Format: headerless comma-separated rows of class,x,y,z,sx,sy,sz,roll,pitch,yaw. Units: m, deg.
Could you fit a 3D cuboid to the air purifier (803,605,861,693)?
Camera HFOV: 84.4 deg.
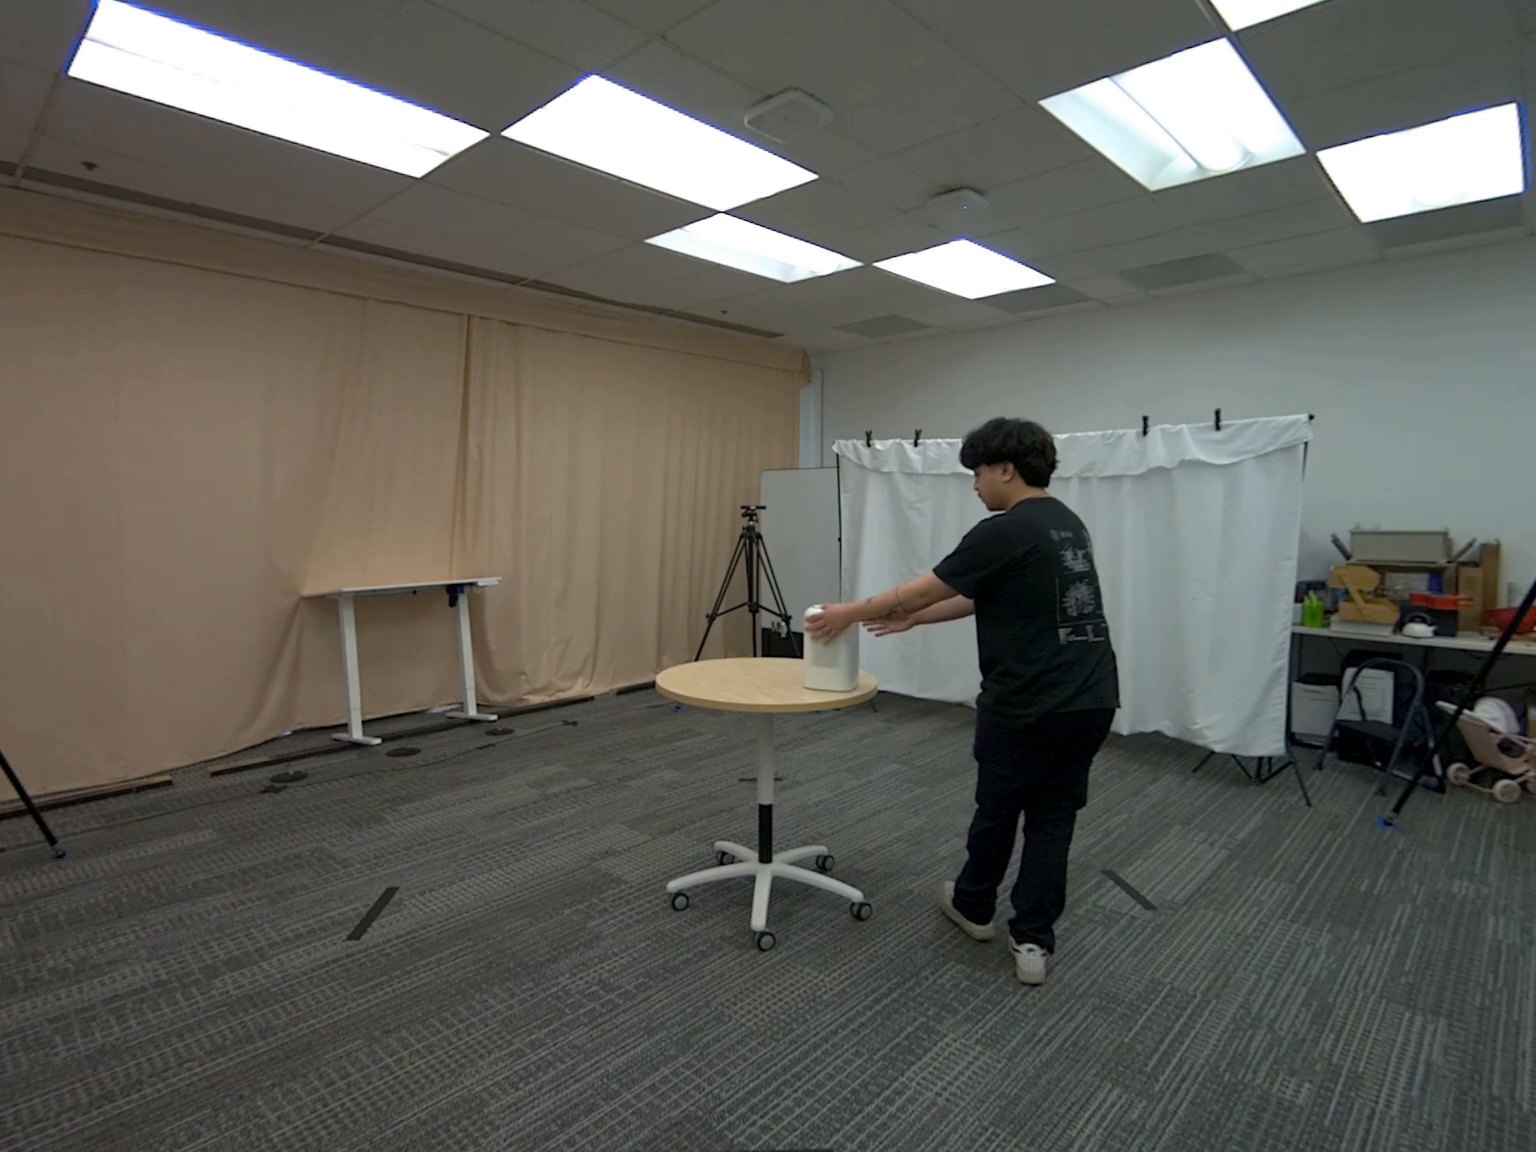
air purifier,0.217,0.236,2.796,0.175,0.265,0.167,2,3,21
